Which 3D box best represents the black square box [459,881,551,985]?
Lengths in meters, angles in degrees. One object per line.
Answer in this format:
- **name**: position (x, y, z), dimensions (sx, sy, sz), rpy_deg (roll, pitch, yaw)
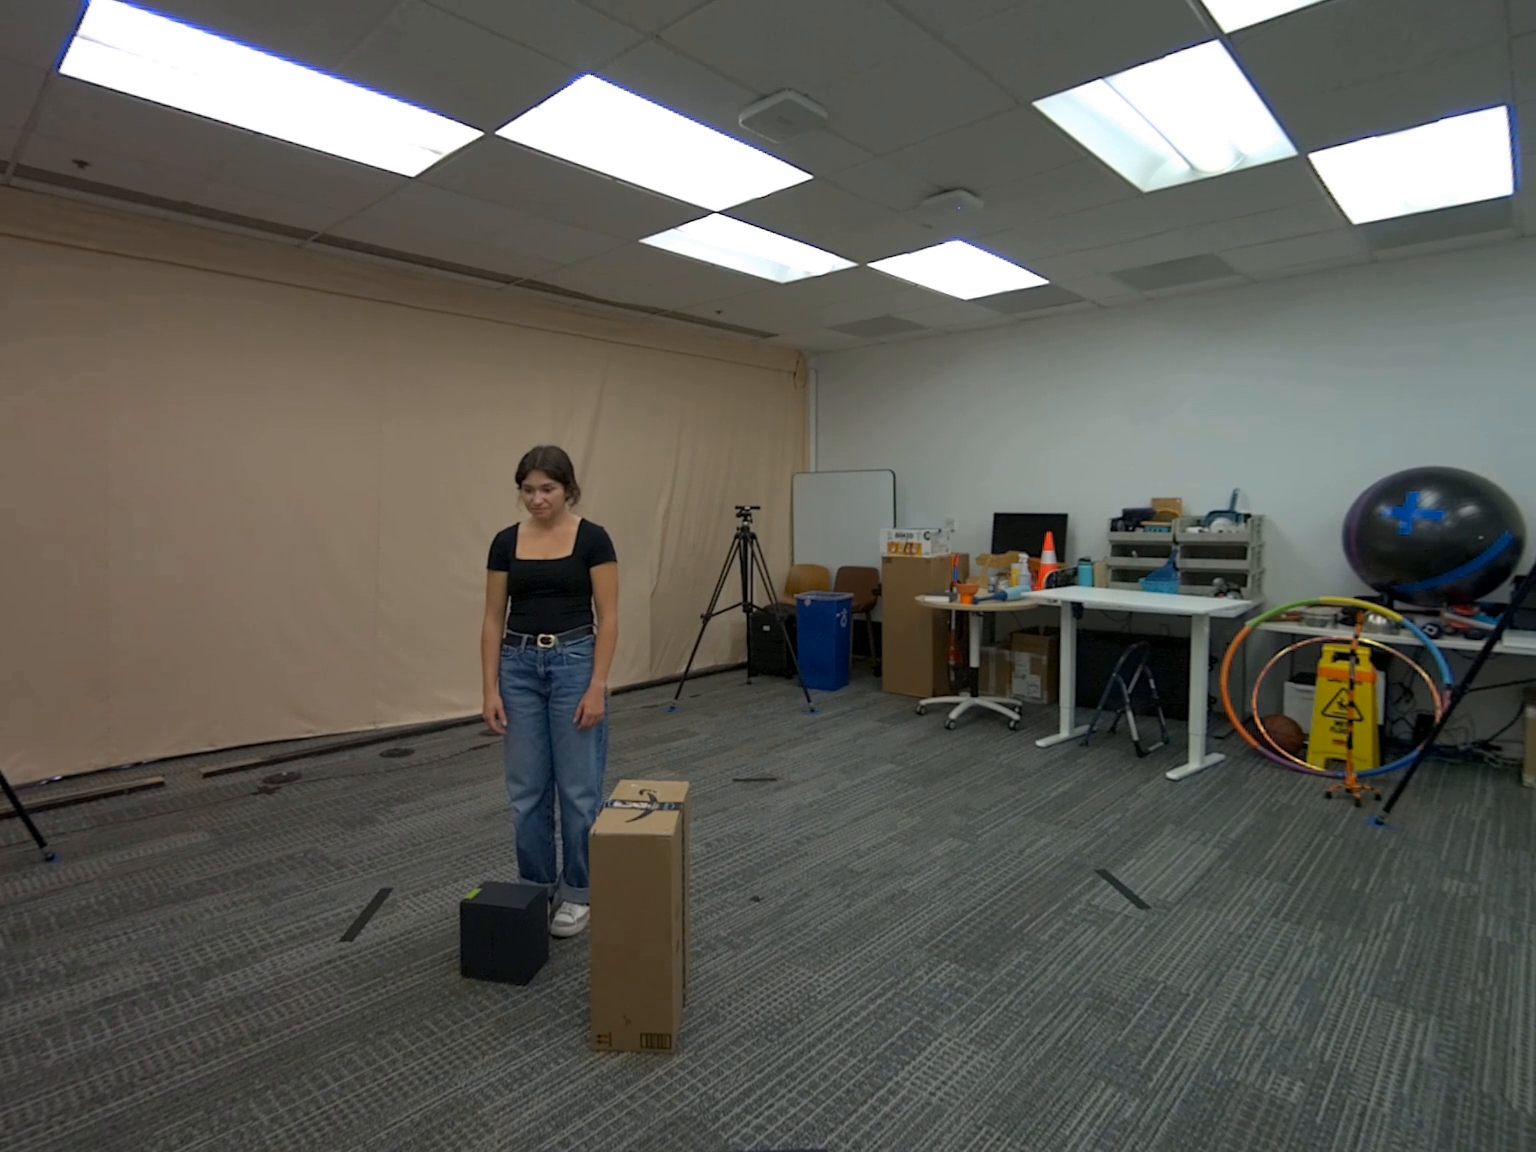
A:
- **black square box**: position (-0.795, 1.061, 2.545), dimensions (0.220, 0.227, 0.154), rpy_deg (0, 3, 13)
